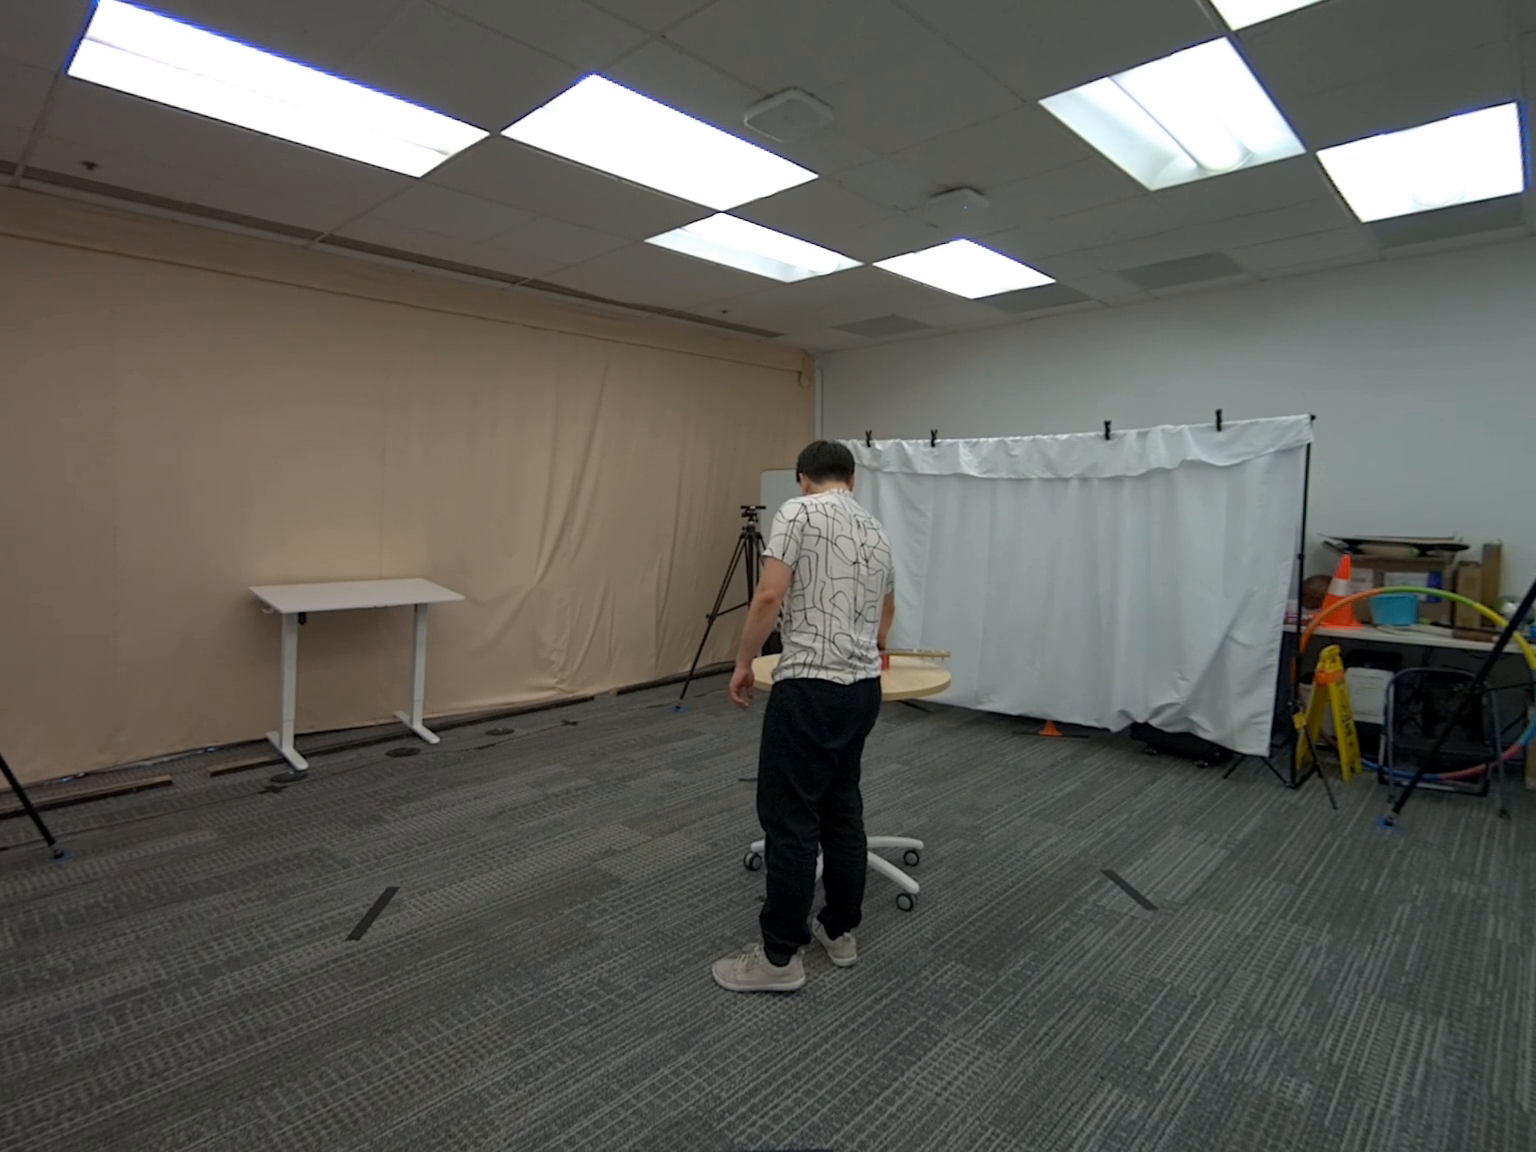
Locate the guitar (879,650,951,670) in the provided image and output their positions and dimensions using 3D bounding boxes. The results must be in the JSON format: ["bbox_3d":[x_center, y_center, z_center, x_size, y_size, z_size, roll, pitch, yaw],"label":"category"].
[{"bbox_3d":[0.432,0.318,3.128,0.507,0.070,0.190,2,4,16],"label":"guitar"}]
